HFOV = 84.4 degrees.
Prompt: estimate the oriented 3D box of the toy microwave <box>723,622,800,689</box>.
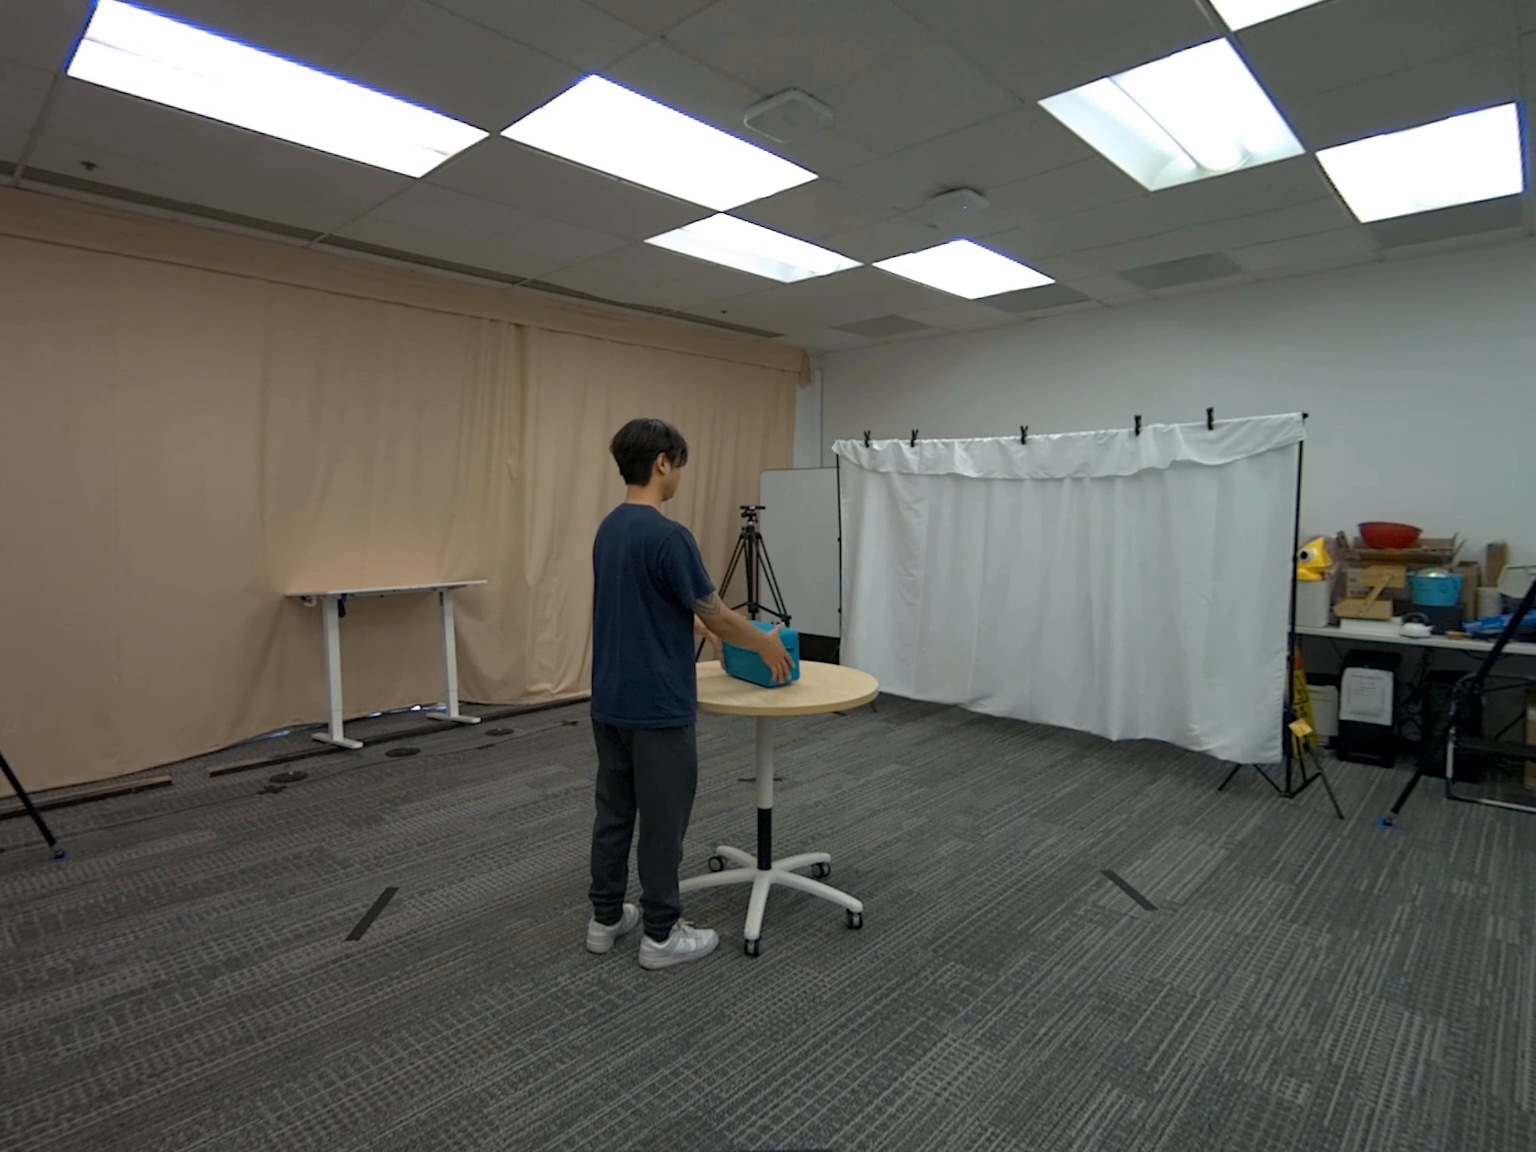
[{"bbox_3d":[-0.015,0.261,2.864,0.148,0.183,0.295,-6,7,-32],"label":"toy microwave"}]
